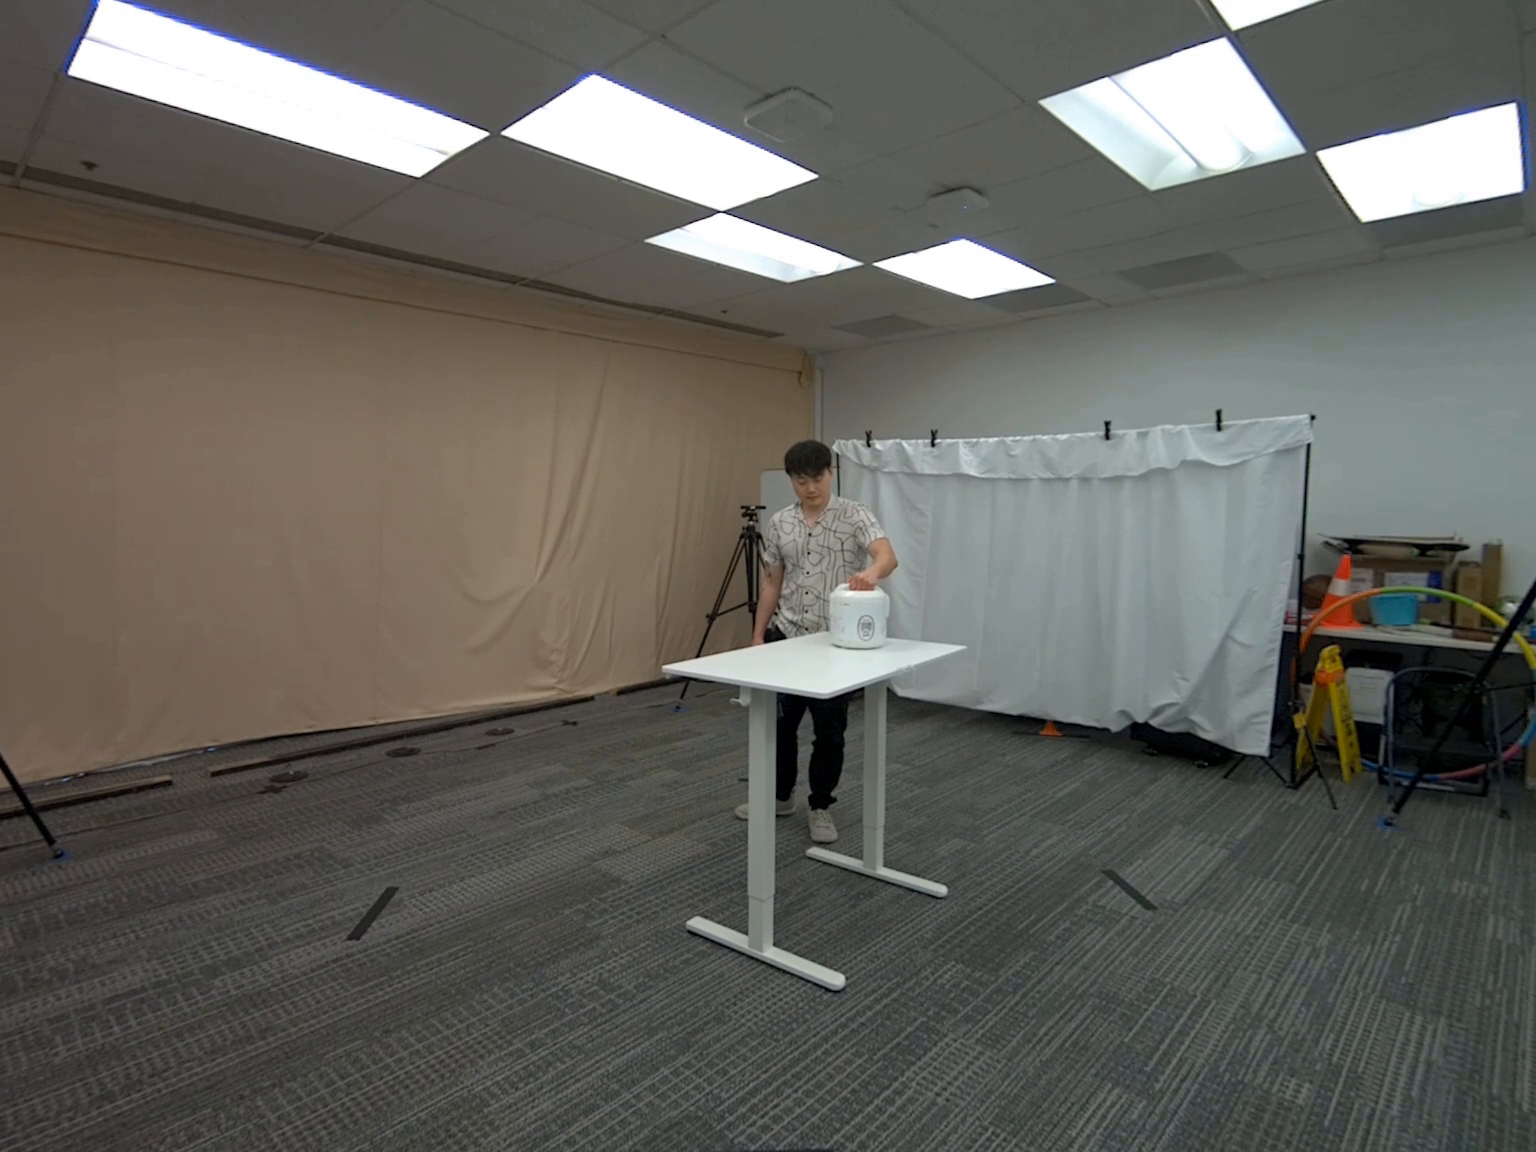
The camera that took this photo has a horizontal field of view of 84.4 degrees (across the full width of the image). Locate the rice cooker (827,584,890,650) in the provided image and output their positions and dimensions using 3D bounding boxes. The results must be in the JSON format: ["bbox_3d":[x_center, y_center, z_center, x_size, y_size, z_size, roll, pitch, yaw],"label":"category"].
[{"bbox_3d":[0.333,0.139,3.056,0.219,0.232,0.219,-1,3,-8],"label":"rice cooker"}]
